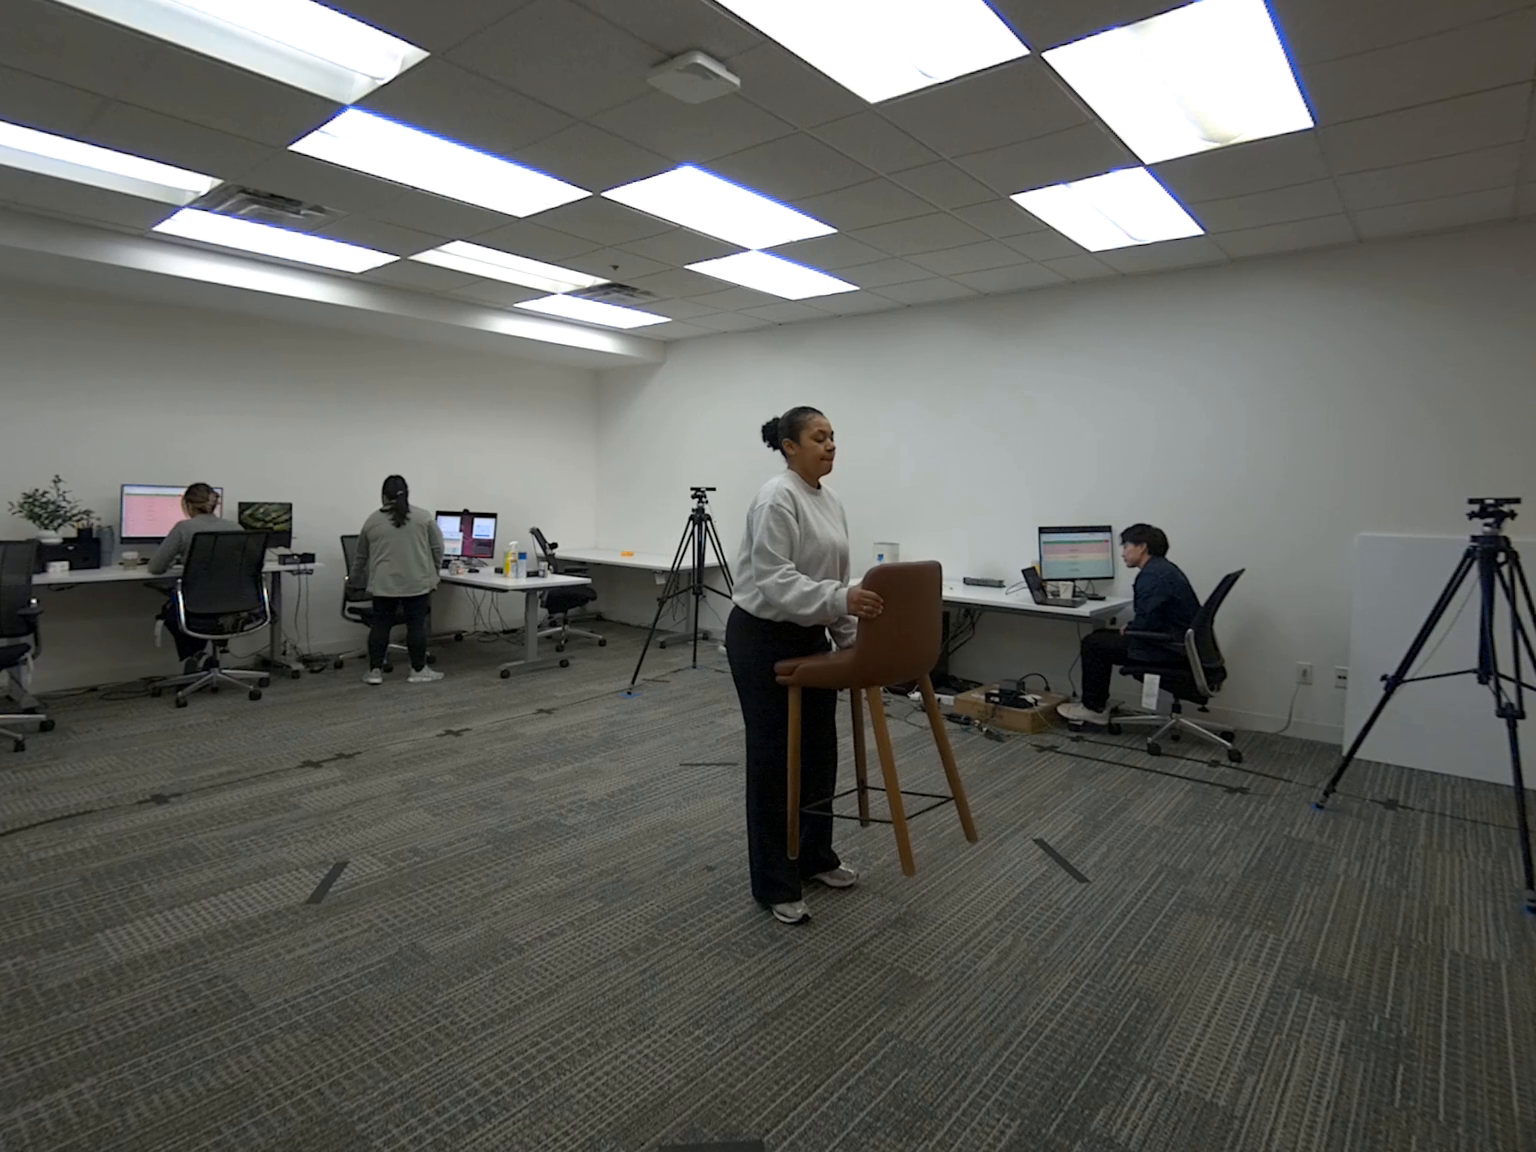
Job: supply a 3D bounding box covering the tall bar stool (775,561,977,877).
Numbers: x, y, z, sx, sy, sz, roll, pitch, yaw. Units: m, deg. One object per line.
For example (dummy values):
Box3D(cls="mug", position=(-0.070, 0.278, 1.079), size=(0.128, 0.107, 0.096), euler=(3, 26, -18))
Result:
Box3D(cls="tall bar stool", position=(0.314, 0.422, 2.687), size=(0.480, 0.893, 0.442), euler=(-8, -4, 44))
